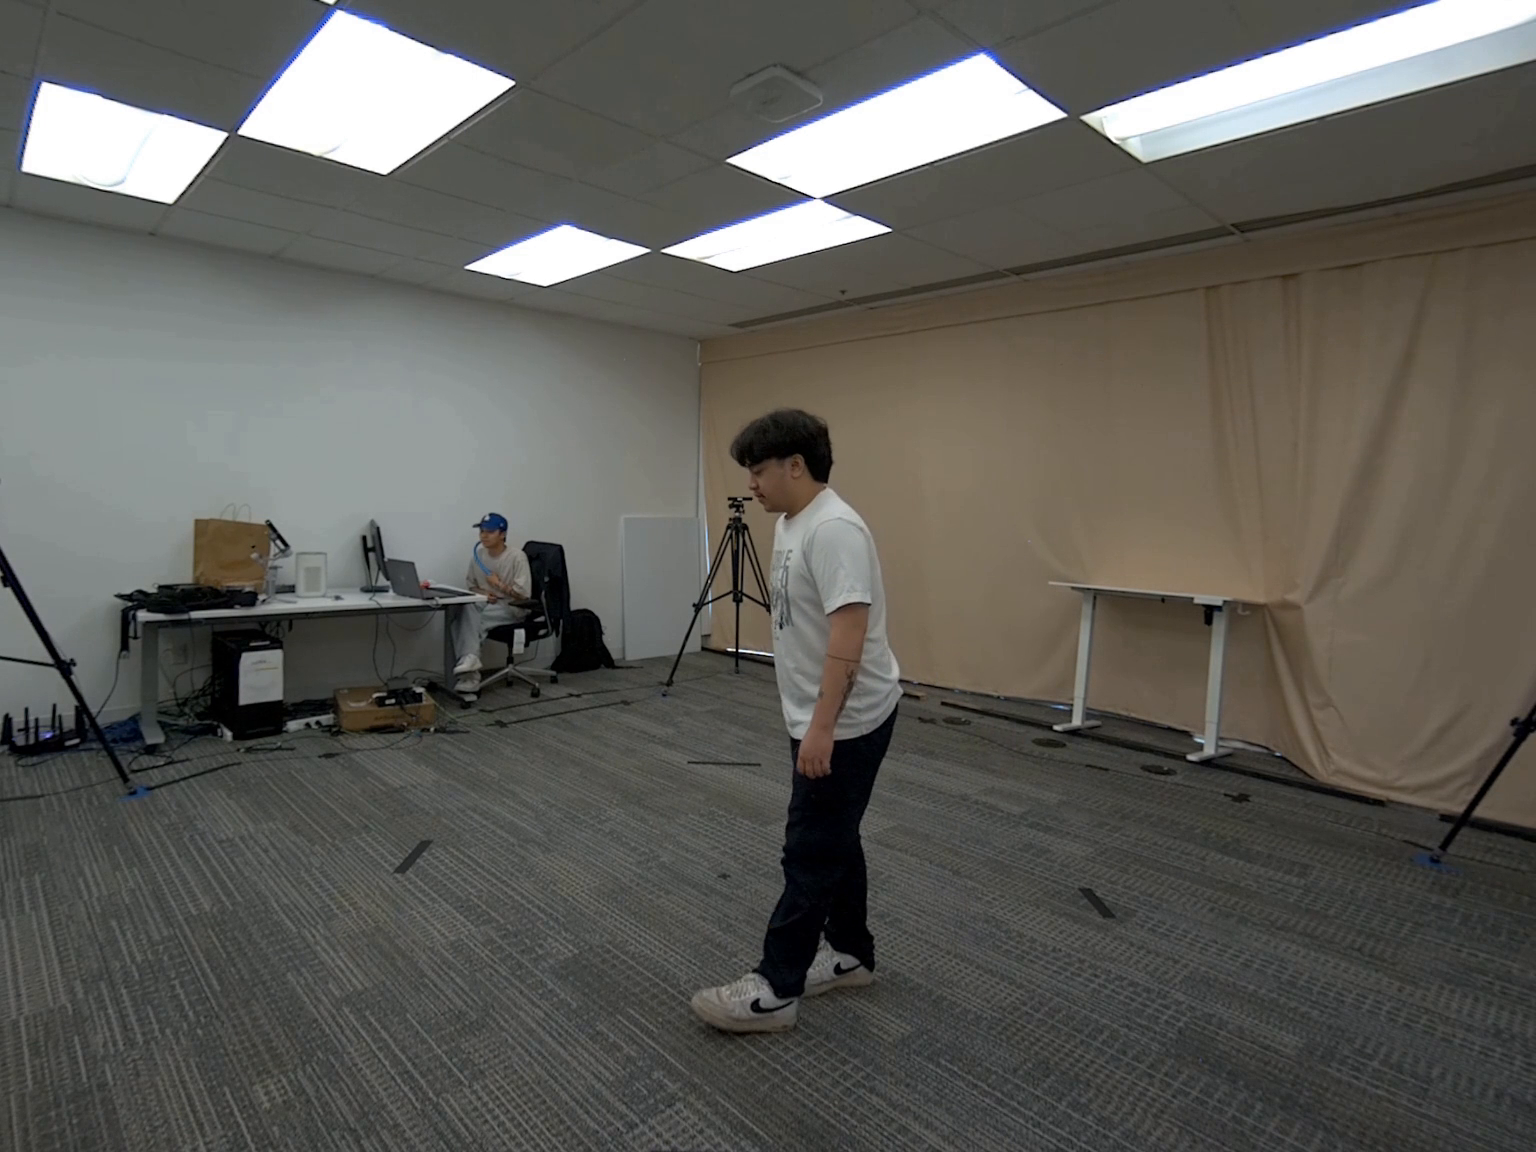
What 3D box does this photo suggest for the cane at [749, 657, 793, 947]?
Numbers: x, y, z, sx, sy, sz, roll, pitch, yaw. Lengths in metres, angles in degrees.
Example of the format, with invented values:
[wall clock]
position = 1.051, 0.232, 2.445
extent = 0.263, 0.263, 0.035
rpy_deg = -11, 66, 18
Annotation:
[cane]
position = 0.091, 0.706, 2.593
extent = 0.202, 0.905, 0.155
rpy_deg = -5, 5, -32
